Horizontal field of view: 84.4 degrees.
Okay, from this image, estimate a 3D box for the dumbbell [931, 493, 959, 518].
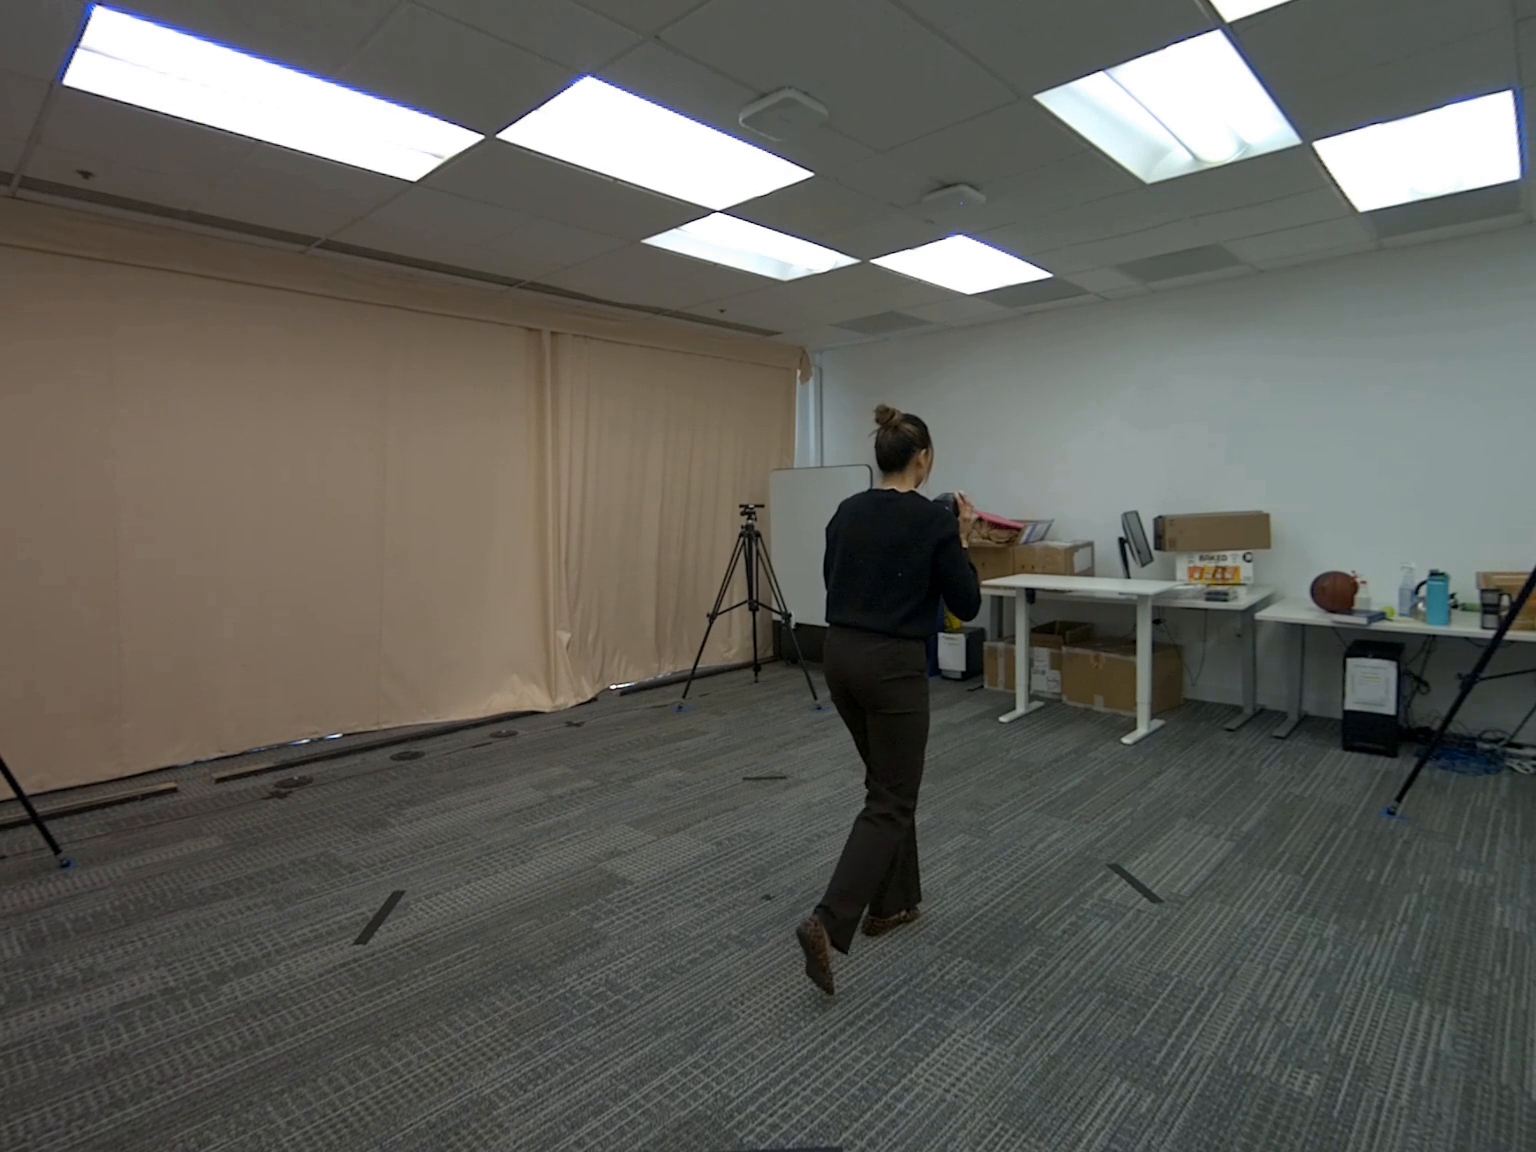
[{"bbox_3d":[0.540,-0.207,2.752,0.303,0.107,0.121,4,25,43],"label":"dumbbell"}]
